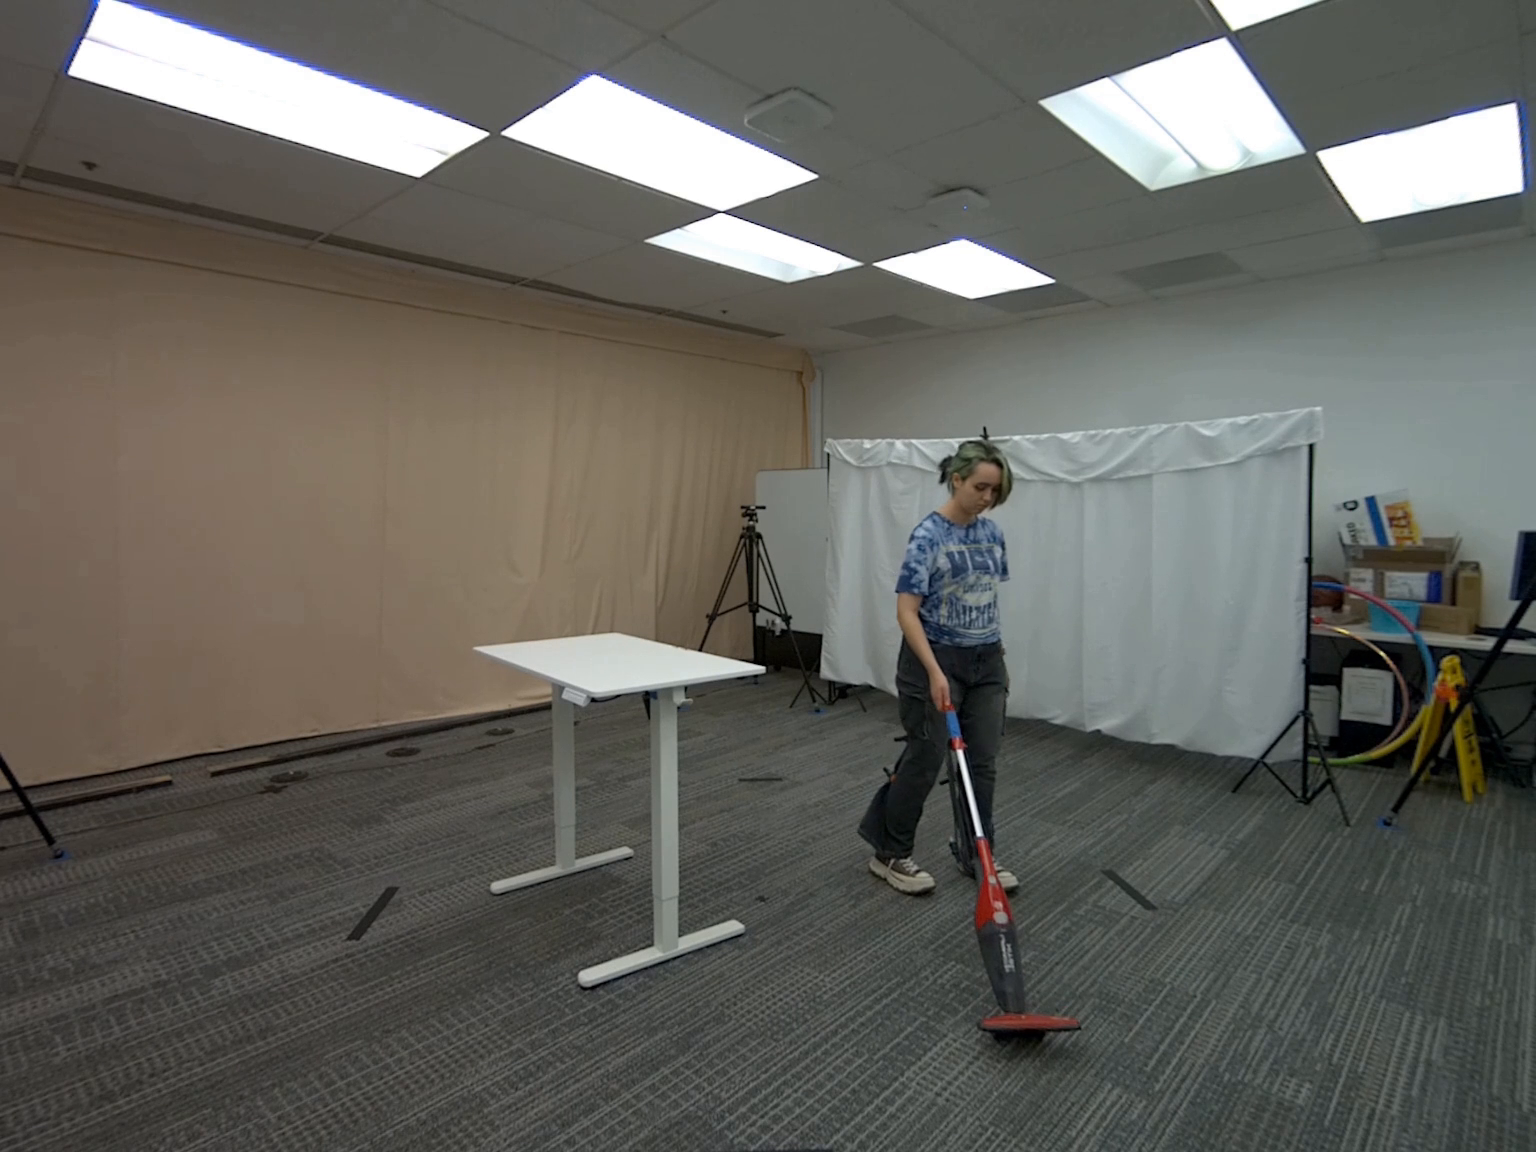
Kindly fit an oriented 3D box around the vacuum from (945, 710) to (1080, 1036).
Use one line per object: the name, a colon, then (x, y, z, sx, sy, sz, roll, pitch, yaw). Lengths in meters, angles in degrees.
vacuum: (0.640, 0.806, 2.534, 0.252, 0.141, 1.070, 1, 44, -4)
